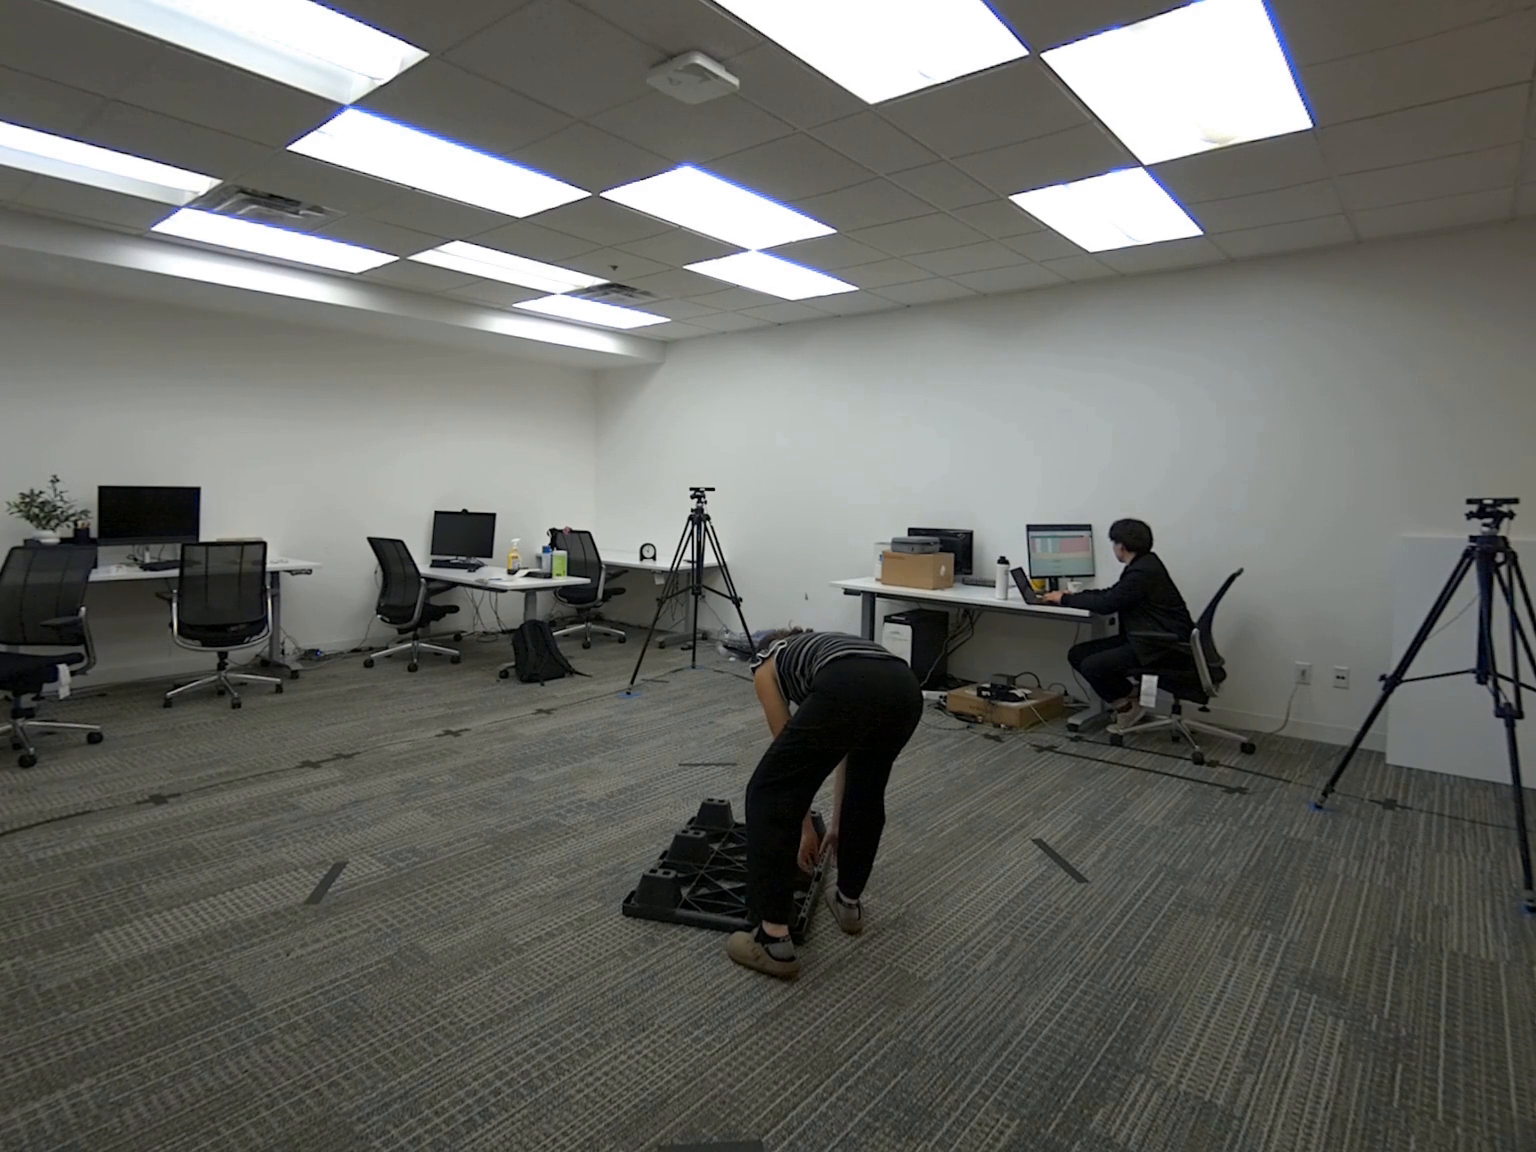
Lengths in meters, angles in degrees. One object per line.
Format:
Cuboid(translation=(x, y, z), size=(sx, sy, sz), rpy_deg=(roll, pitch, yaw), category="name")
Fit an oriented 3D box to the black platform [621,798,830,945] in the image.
Cuboid(translation=(-0.109, 1.007, 3.048), size=(0.615, 0.143, 0.796), rpy_deg=(2, 6, 13), category="black platform")
